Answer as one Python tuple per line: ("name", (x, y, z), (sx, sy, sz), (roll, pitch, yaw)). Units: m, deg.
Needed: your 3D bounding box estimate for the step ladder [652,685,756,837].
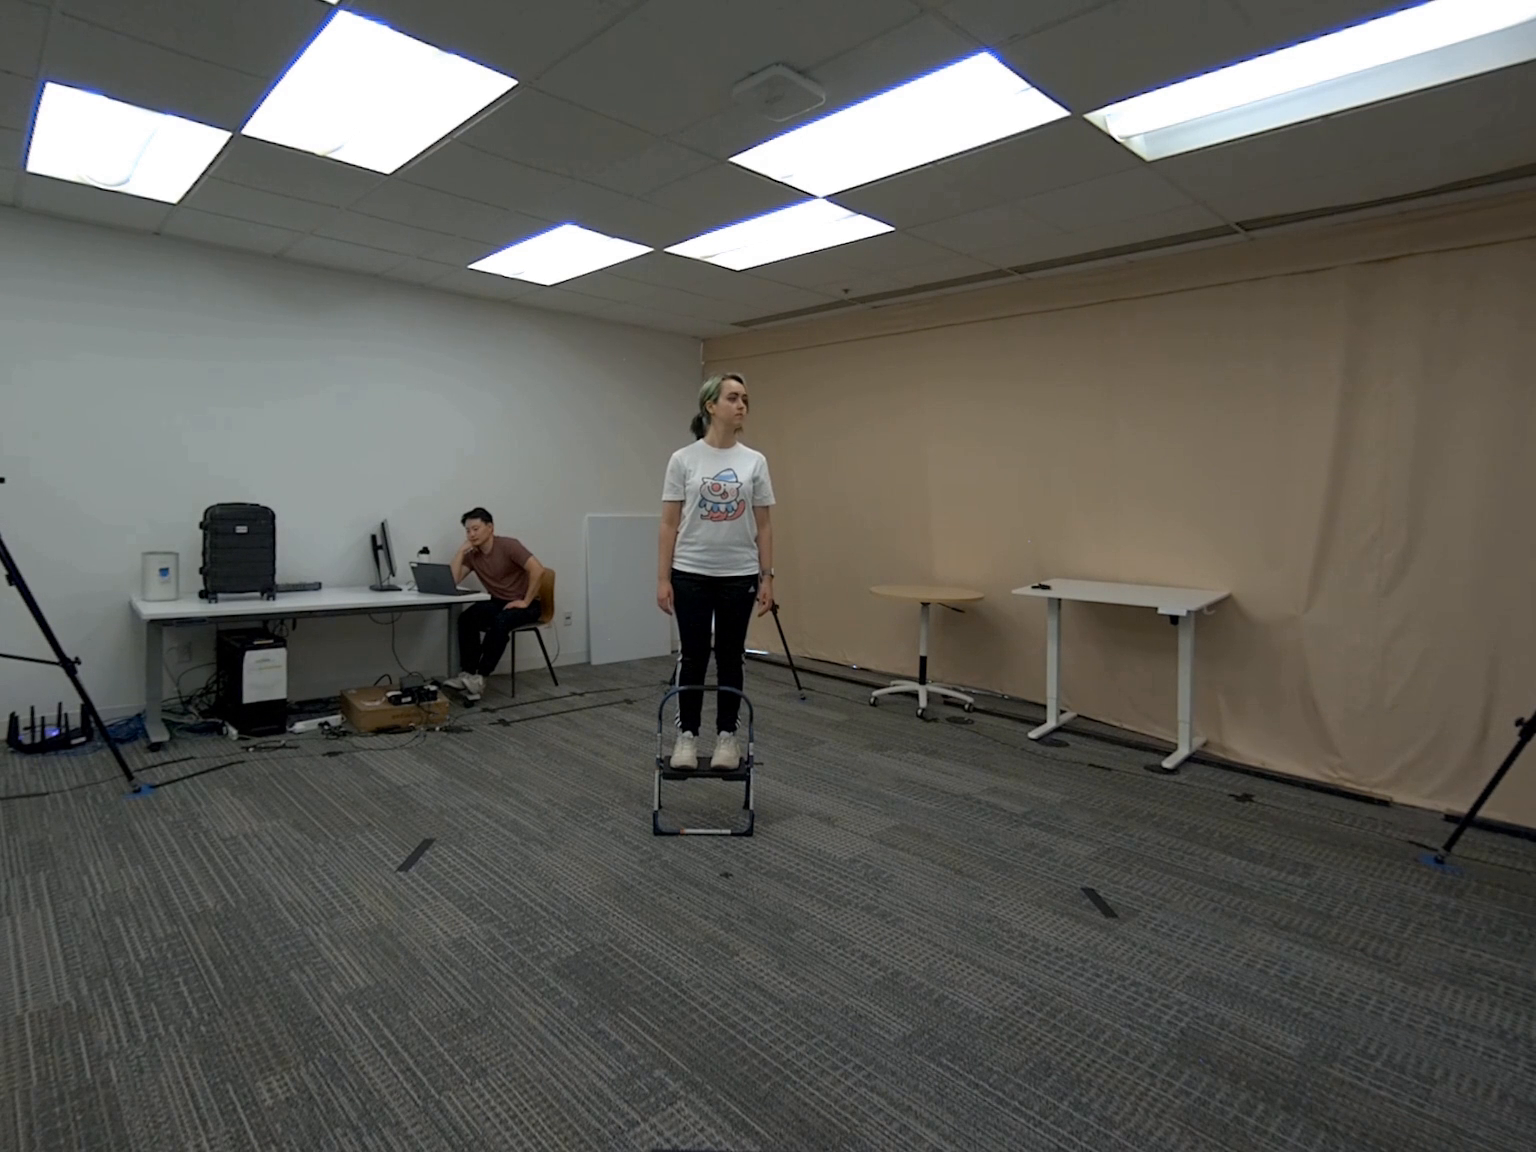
("step ladder", (-0.282, 0.757, 3.614), (0.429, 0.605, 0.351), (1, 2, -4))
